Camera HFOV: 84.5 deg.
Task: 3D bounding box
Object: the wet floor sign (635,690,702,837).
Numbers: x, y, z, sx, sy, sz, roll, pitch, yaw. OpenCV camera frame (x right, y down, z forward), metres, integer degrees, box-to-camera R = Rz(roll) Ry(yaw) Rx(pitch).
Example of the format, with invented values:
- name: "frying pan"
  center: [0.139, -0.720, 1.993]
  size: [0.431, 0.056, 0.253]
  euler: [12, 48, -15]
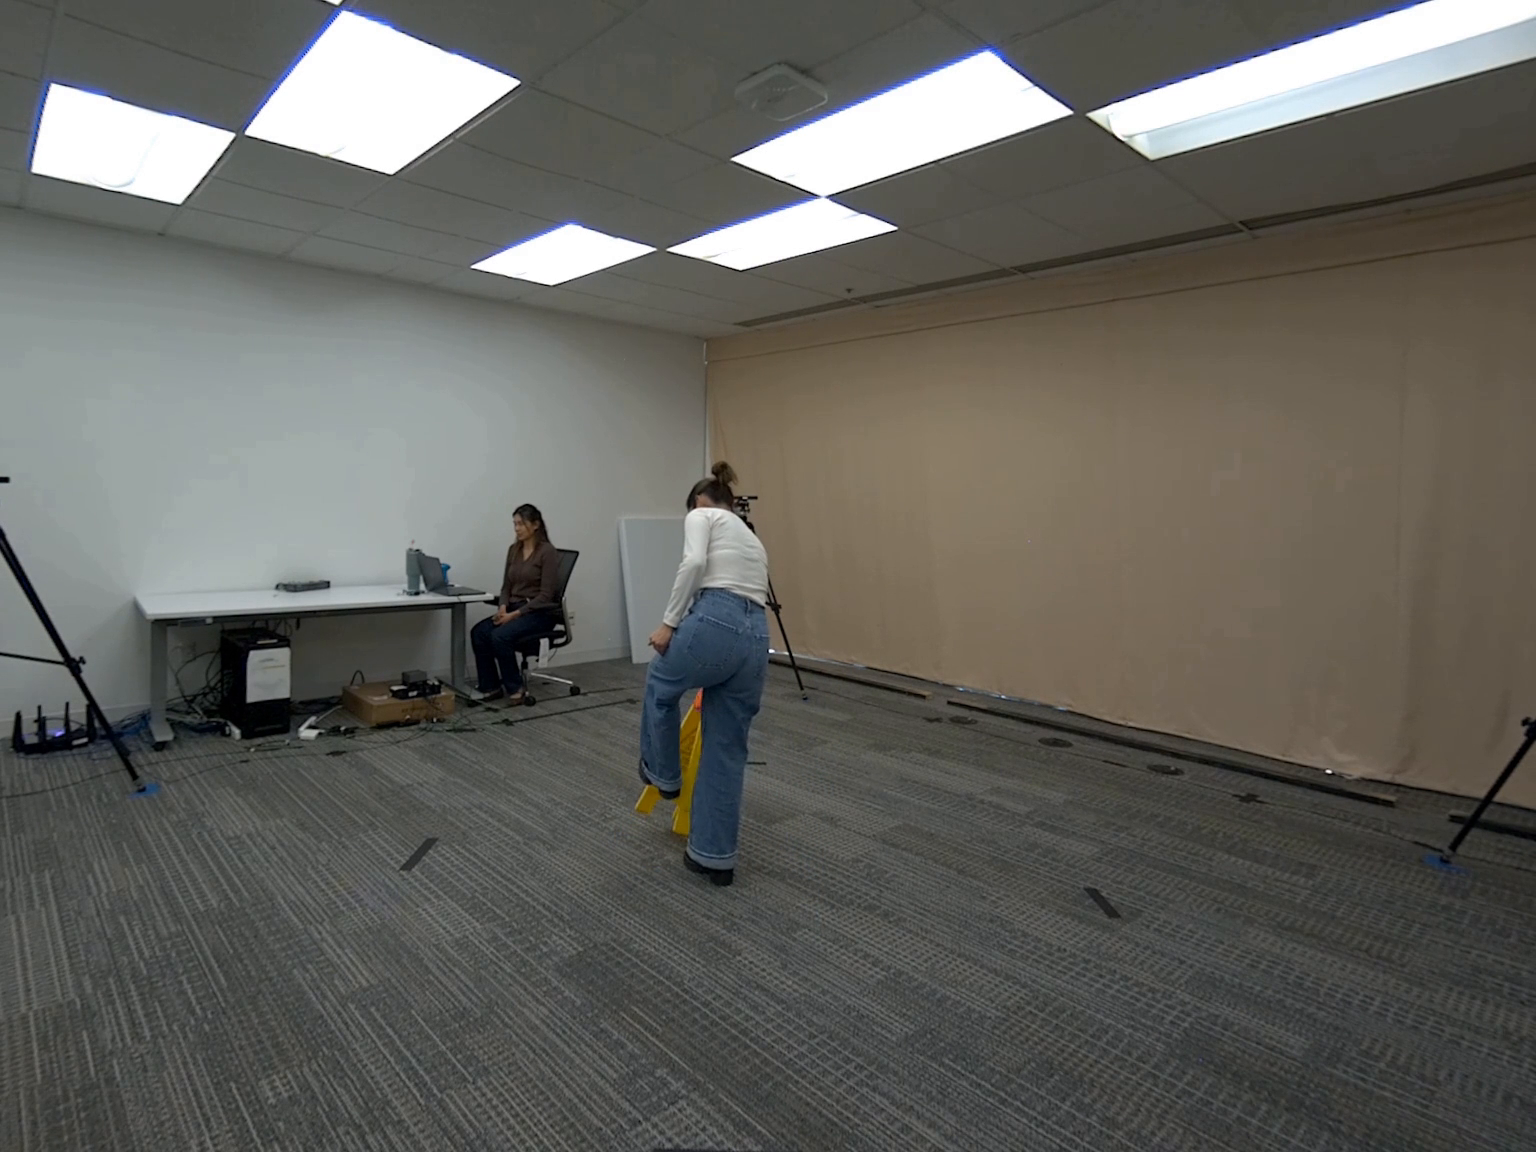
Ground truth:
- name: "wet floor sign"
  center: [-0.261, 0.725, 3.475]
  size: [0.274, 0.649, 0.297]
  euler: [28, -14, -38]
